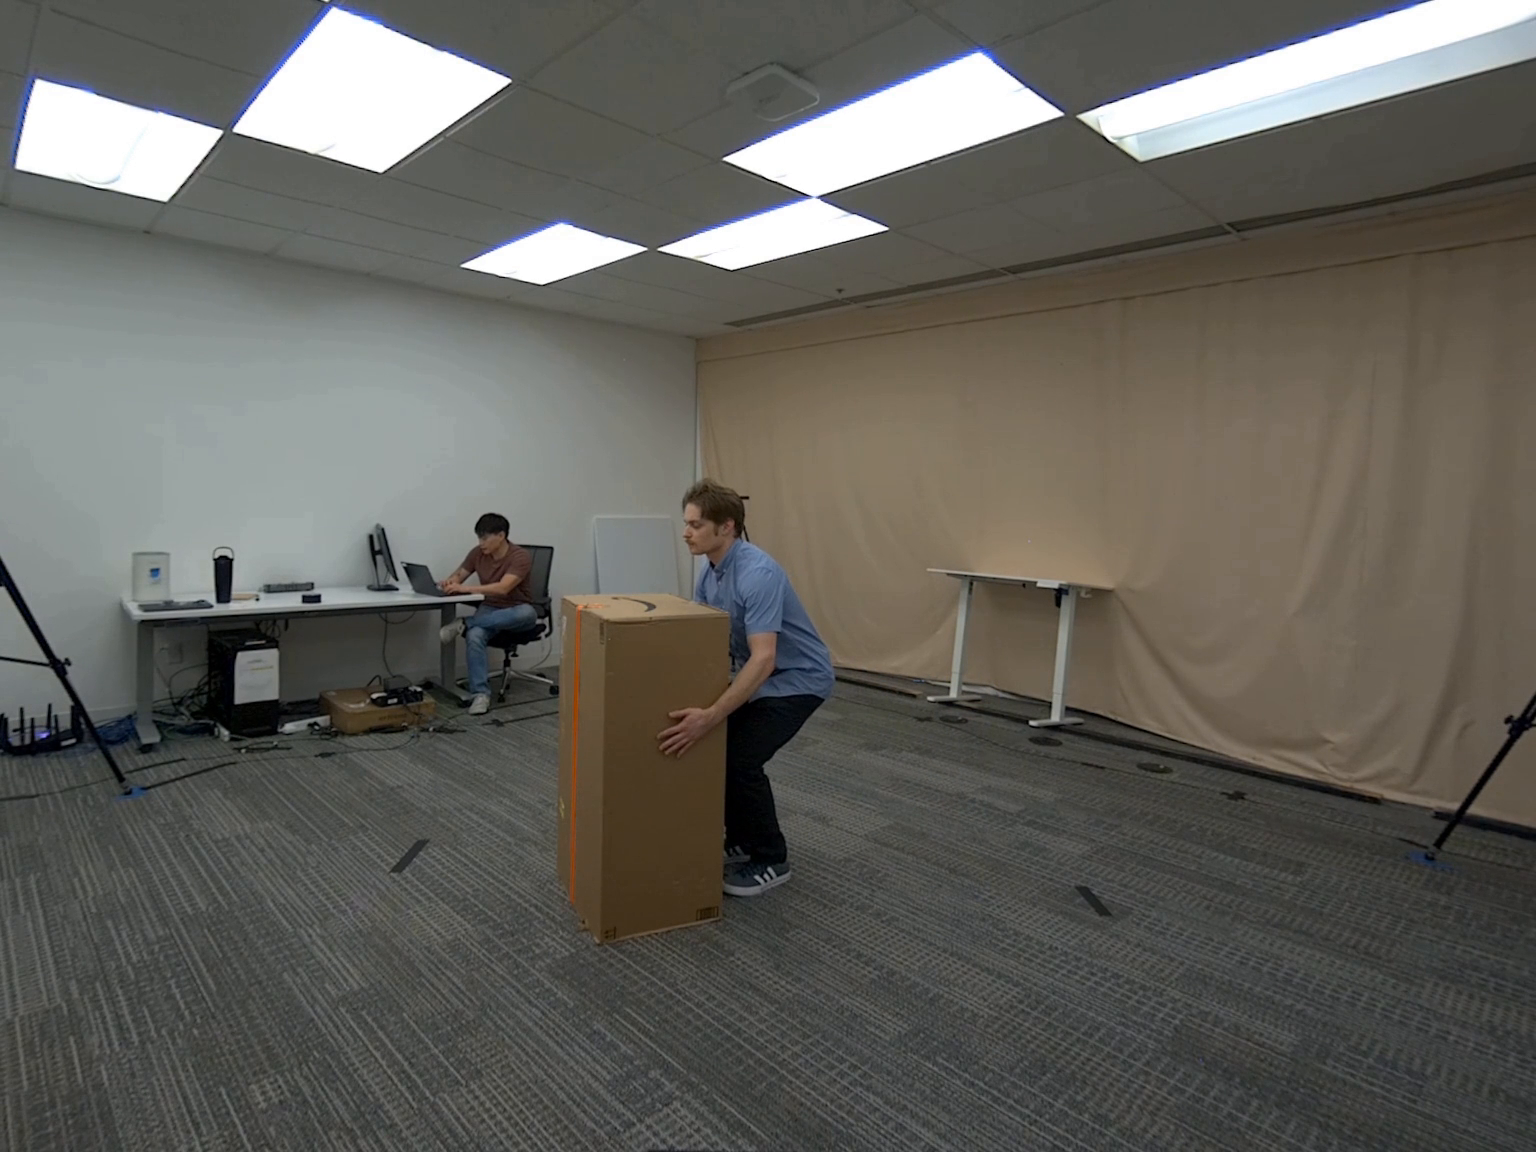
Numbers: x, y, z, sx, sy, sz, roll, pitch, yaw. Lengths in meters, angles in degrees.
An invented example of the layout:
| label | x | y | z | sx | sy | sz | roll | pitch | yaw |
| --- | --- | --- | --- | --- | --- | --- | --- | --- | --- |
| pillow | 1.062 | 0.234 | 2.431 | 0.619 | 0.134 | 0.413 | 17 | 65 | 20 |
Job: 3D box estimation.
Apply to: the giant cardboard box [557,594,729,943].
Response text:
| label | x | y | z | sx | sy | sz | roll | pitch | yaw |
| --- | --- | --- | --- | --- | --- | --- | --- | --- | --- |
| giant cardboard box | -0.460 | 0.607 | 2.902 | 0.418 | 1.023 | 0.590 | 0 | 4 | -26 |
